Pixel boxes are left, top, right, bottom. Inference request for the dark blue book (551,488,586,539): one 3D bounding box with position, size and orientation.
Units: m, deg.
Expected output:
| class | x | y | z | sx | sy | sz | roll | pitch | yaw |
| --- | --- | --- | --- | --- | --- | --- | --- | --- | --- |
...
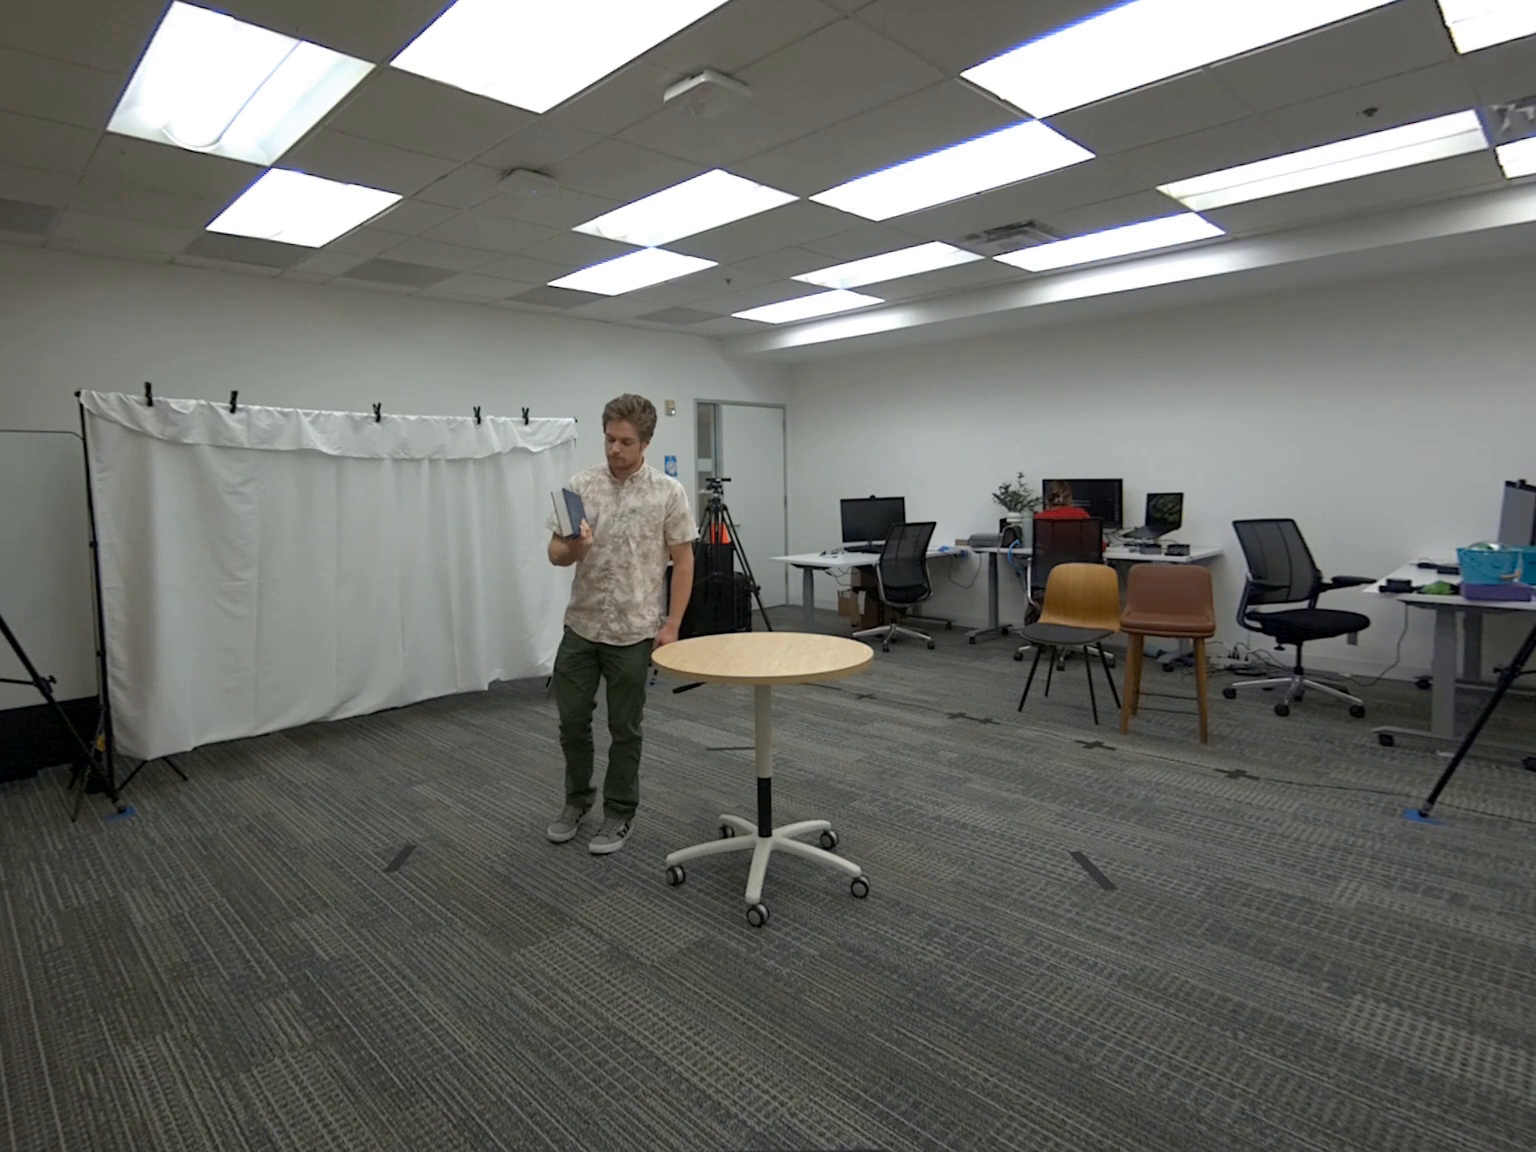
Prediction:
| class | x | y | z | sx | sy | sz | roll | pitch | yaw |
| --- | --- | --- | --- | --- | --- | --- | --- | --- | --- |
| dark blue book | -0.696 | -0.215 | 3.012 | 0.045 | 0.164 | 0.243 | -15 | -3 | 3 |
